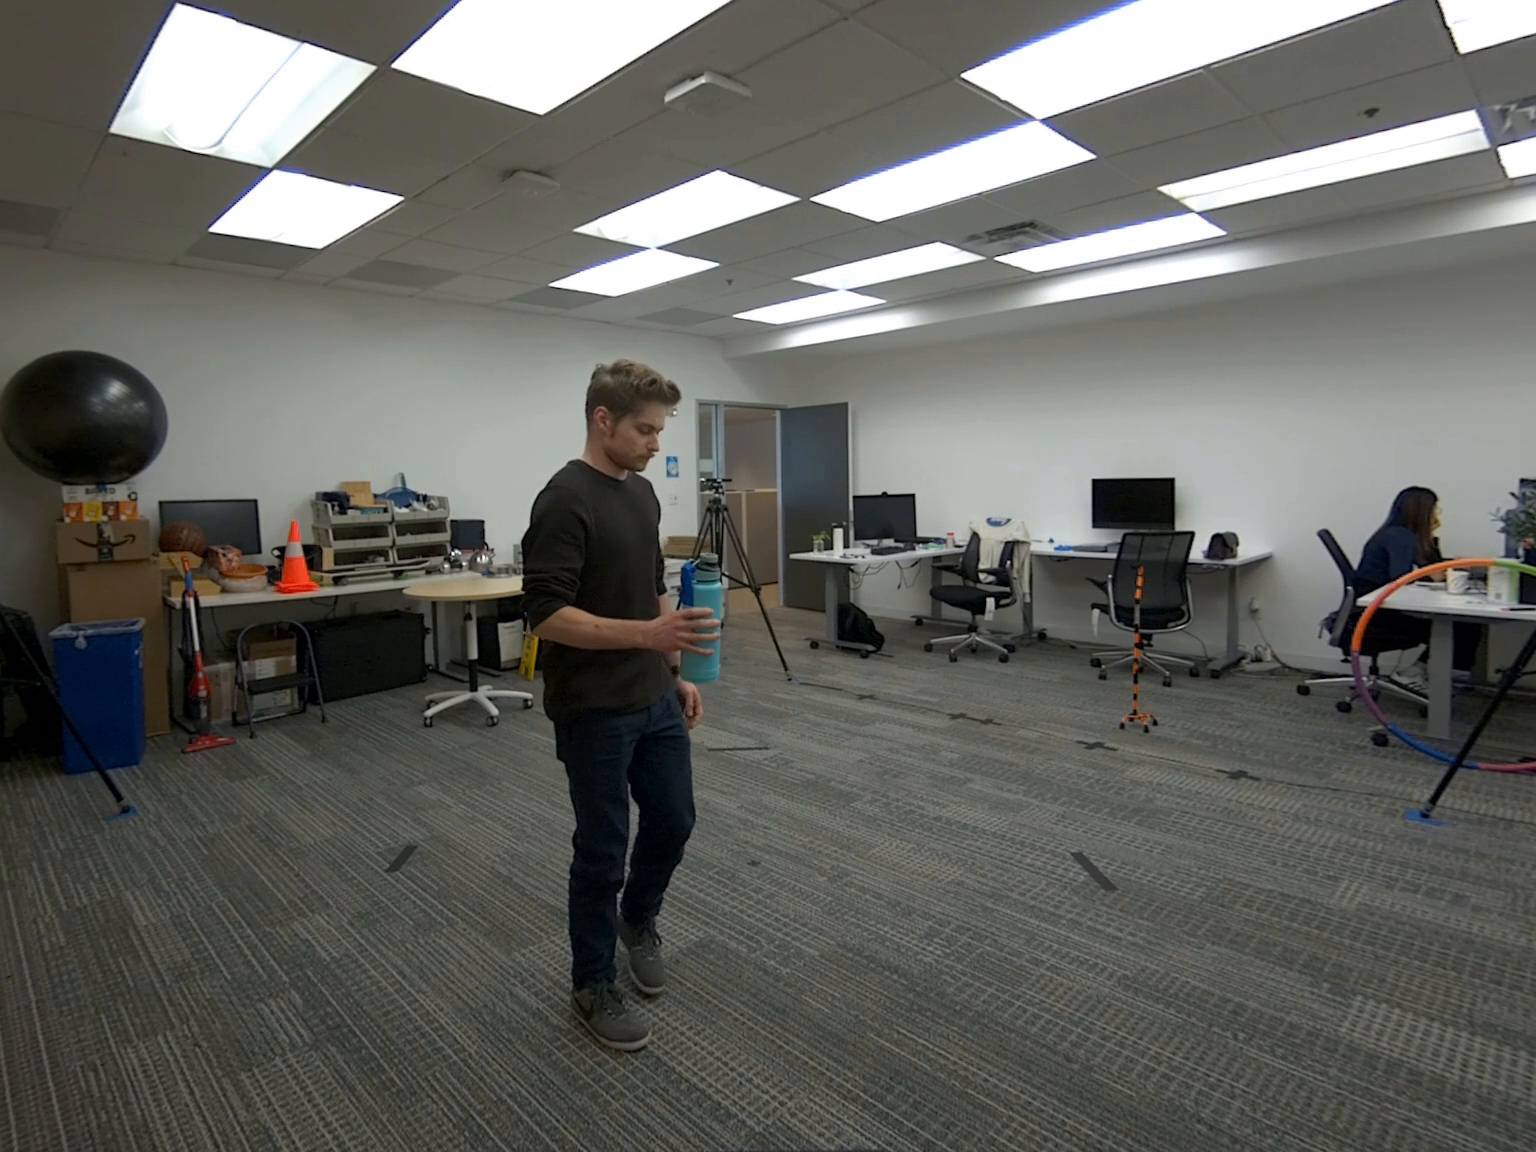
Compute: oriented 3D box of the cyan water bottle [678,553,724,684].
[{"bbox_3d":[-0.147,0.092,1.910,0.092,0.281,0.093,3,11,-2],"label":"cyan water bottle"}]
